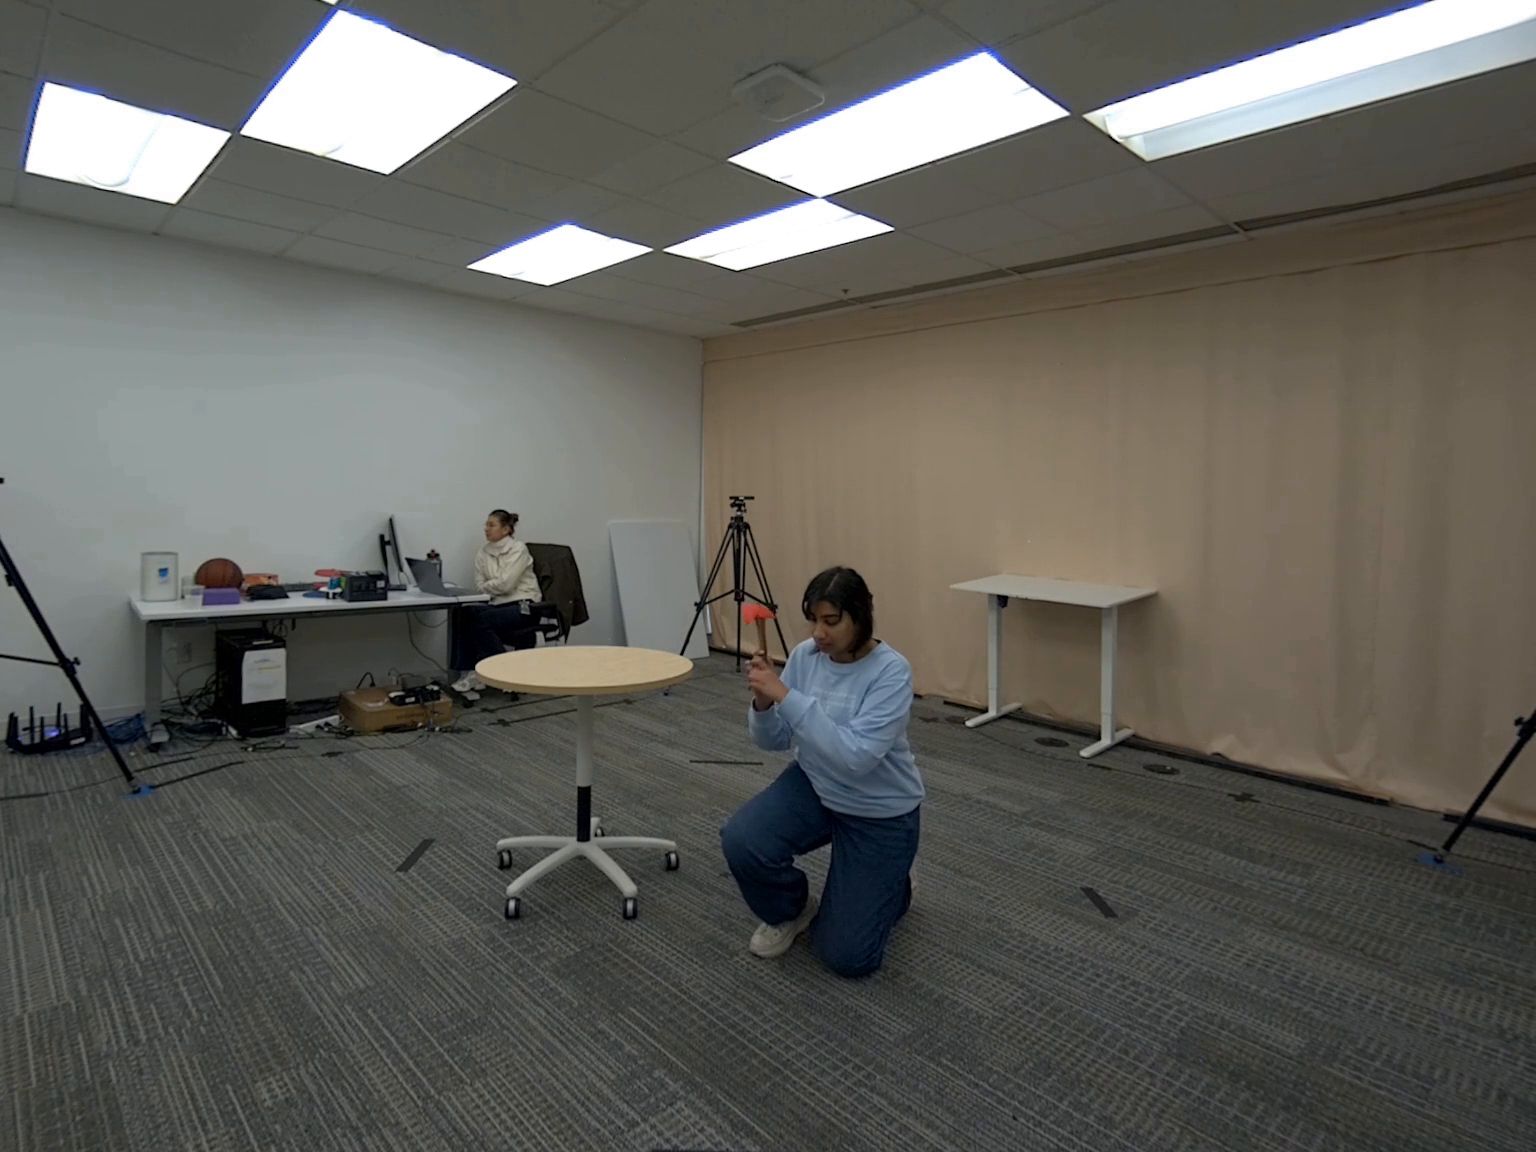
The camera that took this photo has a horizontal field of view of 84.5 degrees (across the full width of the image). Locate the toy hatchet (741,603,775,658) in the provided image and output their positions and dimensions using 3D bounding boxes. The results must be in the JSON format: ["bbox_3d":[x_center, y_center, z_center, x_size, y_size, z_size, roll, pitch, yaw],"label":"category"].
[{"bbox_3d":[-0.004,0.231,2.468,0.030,0.277,0.127,-28,-40,21],"label":"toy hatchet"}]
